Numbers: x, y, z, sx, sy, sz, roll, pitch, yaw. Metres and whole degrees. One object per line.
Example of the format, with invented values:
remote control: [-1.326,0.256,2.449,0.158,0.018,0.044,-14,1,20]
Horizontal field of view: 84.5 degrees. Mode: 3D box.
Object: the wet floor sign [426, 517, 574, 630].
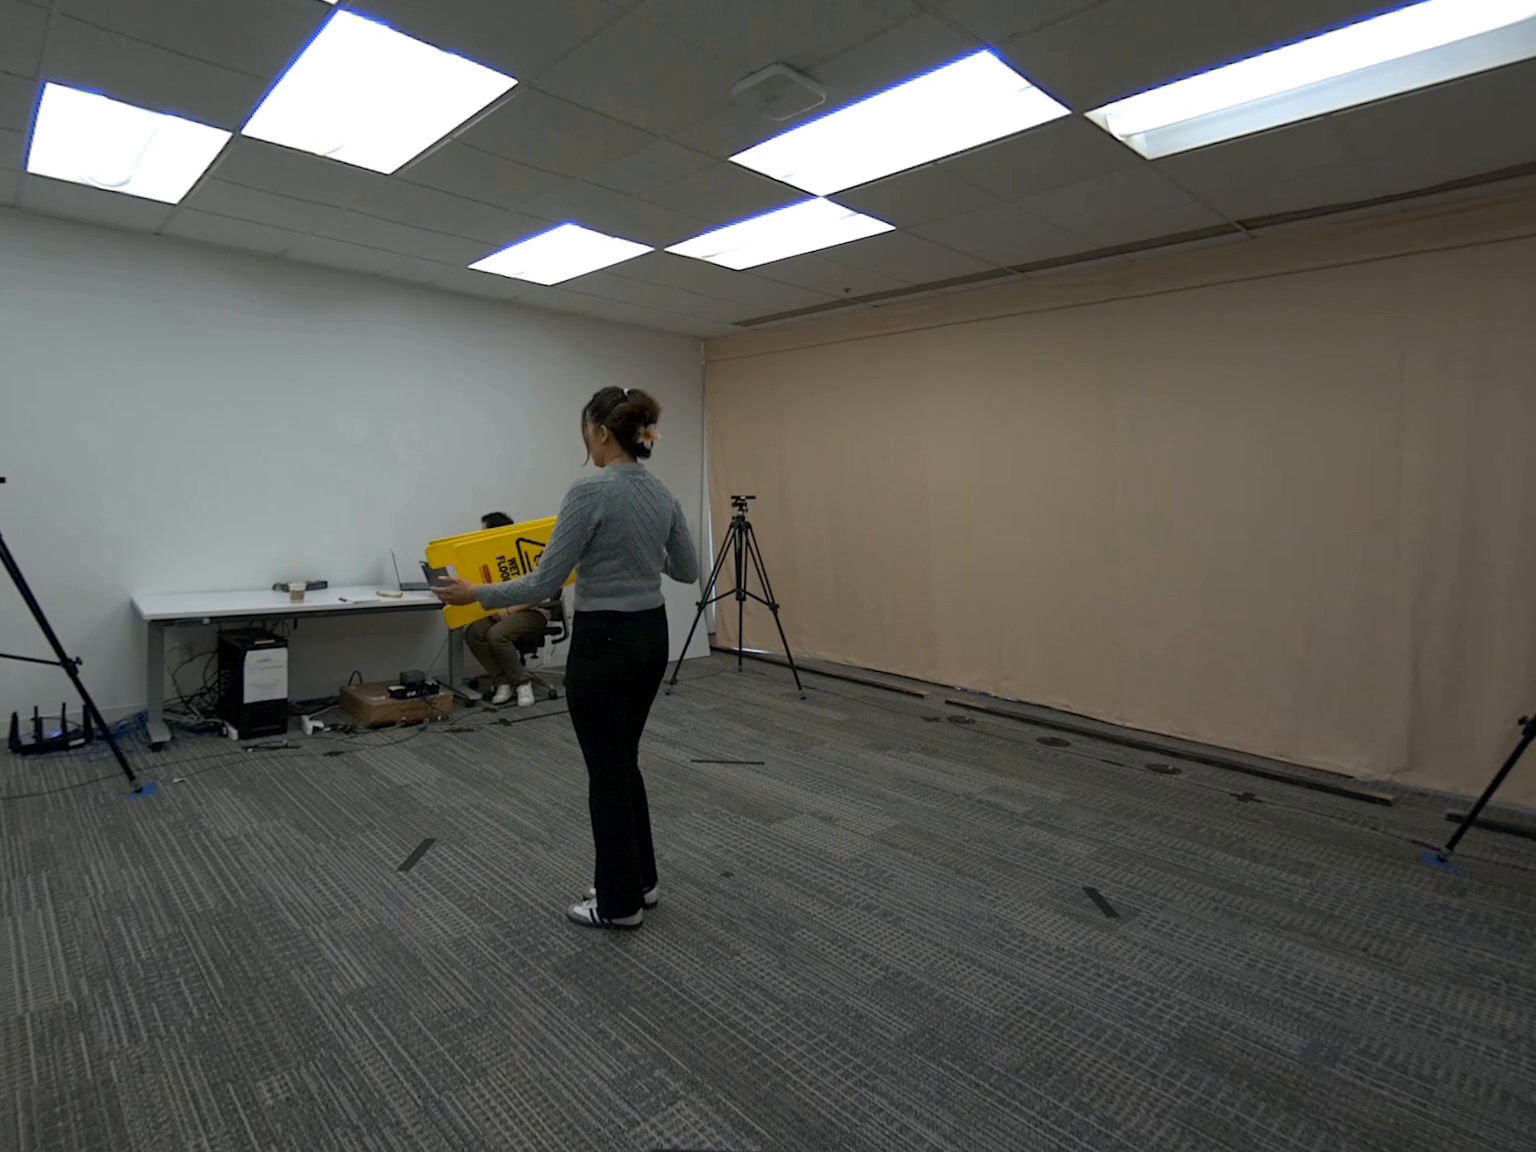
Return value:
wet floor sign: [-0.814,-0.064,2.917,0.640,0.280,0.294,-17,8,-16]
